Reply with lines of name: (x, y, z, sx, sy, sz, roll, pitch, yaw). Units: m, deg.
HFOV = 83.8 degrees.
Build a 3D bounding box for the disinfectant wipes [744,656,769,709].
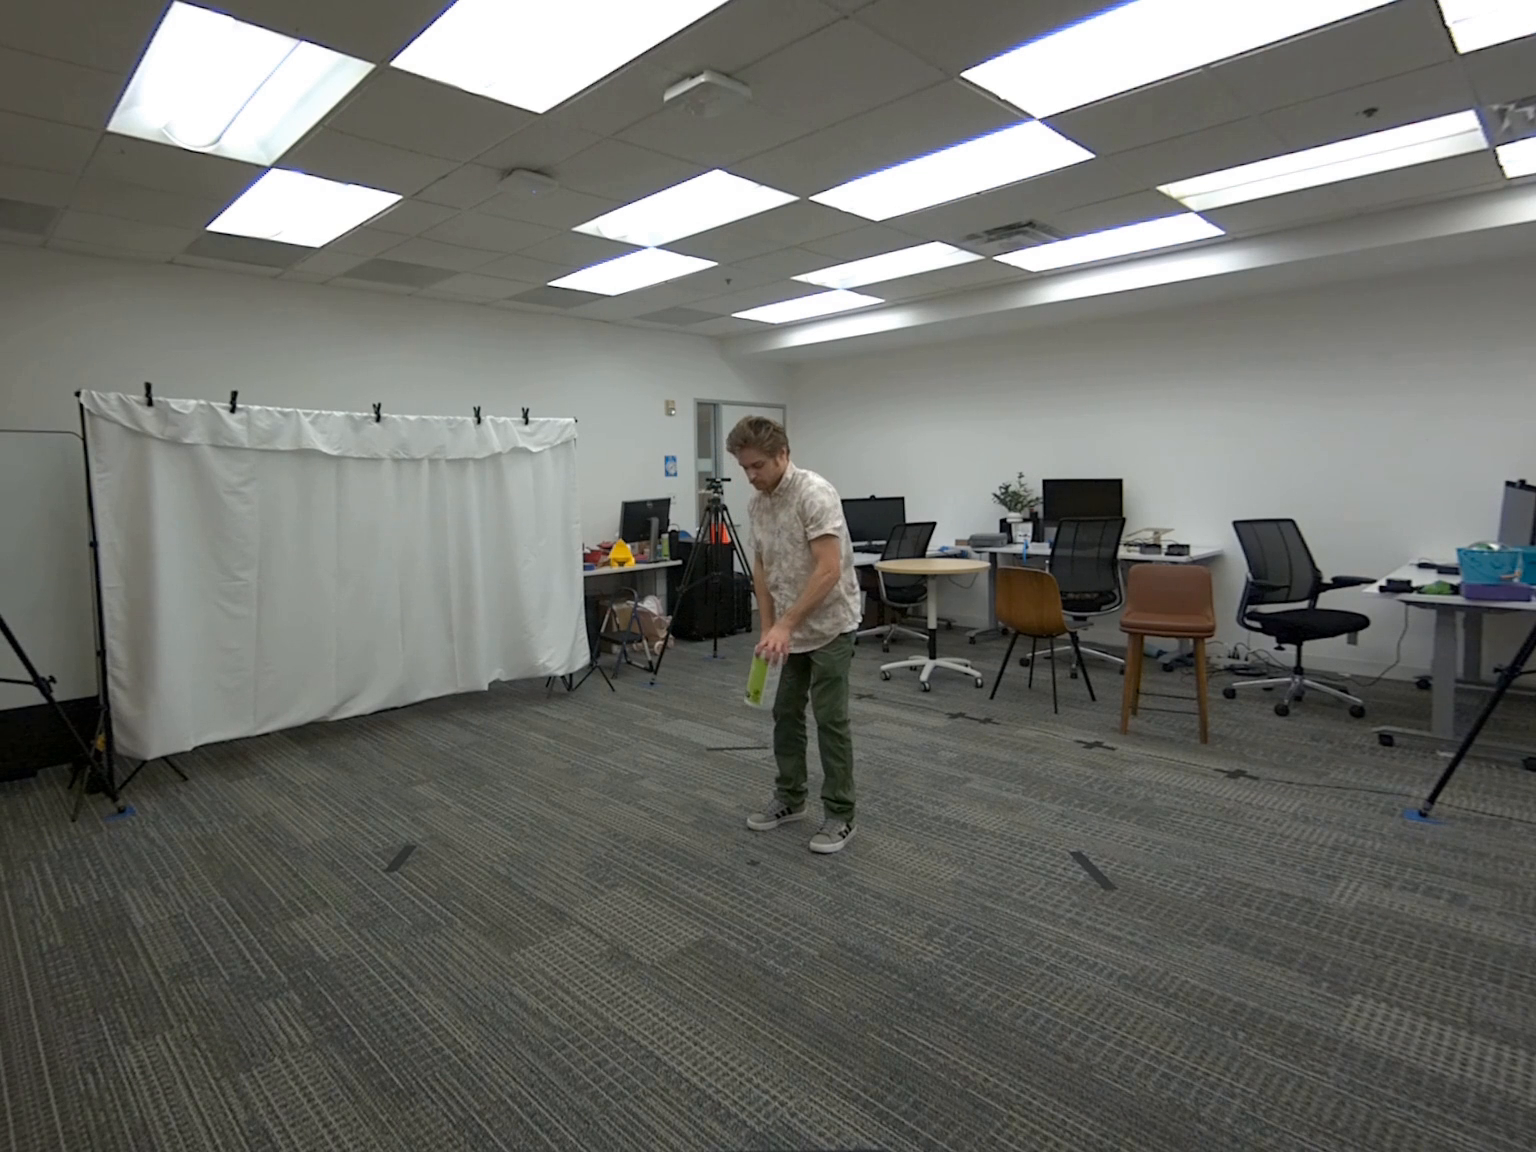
disinfectant wipes: (-0.010, 0.366, 3.065, 0.117, 0.216, 0.119, 8, 7, -3)
